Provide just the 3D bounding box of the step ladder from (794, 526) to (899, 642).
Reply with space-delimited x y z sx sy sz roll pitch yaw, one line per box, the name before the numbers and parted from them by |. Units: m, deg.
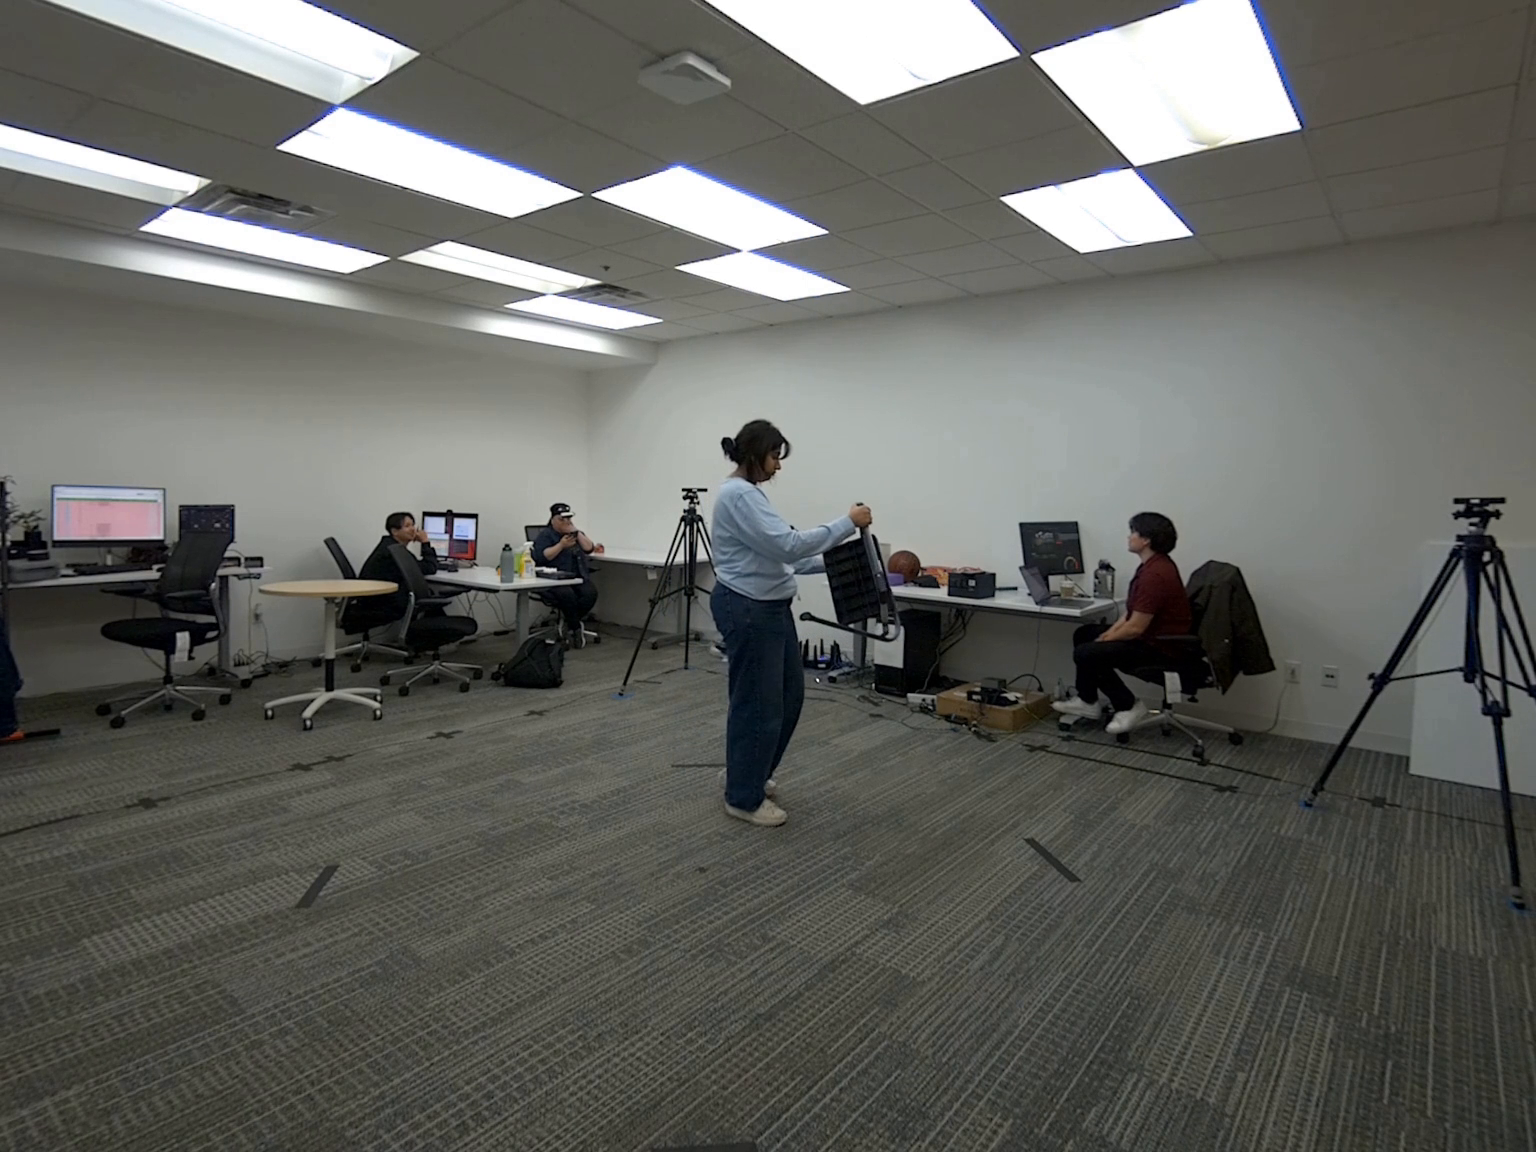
step ladder | 0.361 0.045 3.591 0.354 0.442 0.582 -18 -29 19
